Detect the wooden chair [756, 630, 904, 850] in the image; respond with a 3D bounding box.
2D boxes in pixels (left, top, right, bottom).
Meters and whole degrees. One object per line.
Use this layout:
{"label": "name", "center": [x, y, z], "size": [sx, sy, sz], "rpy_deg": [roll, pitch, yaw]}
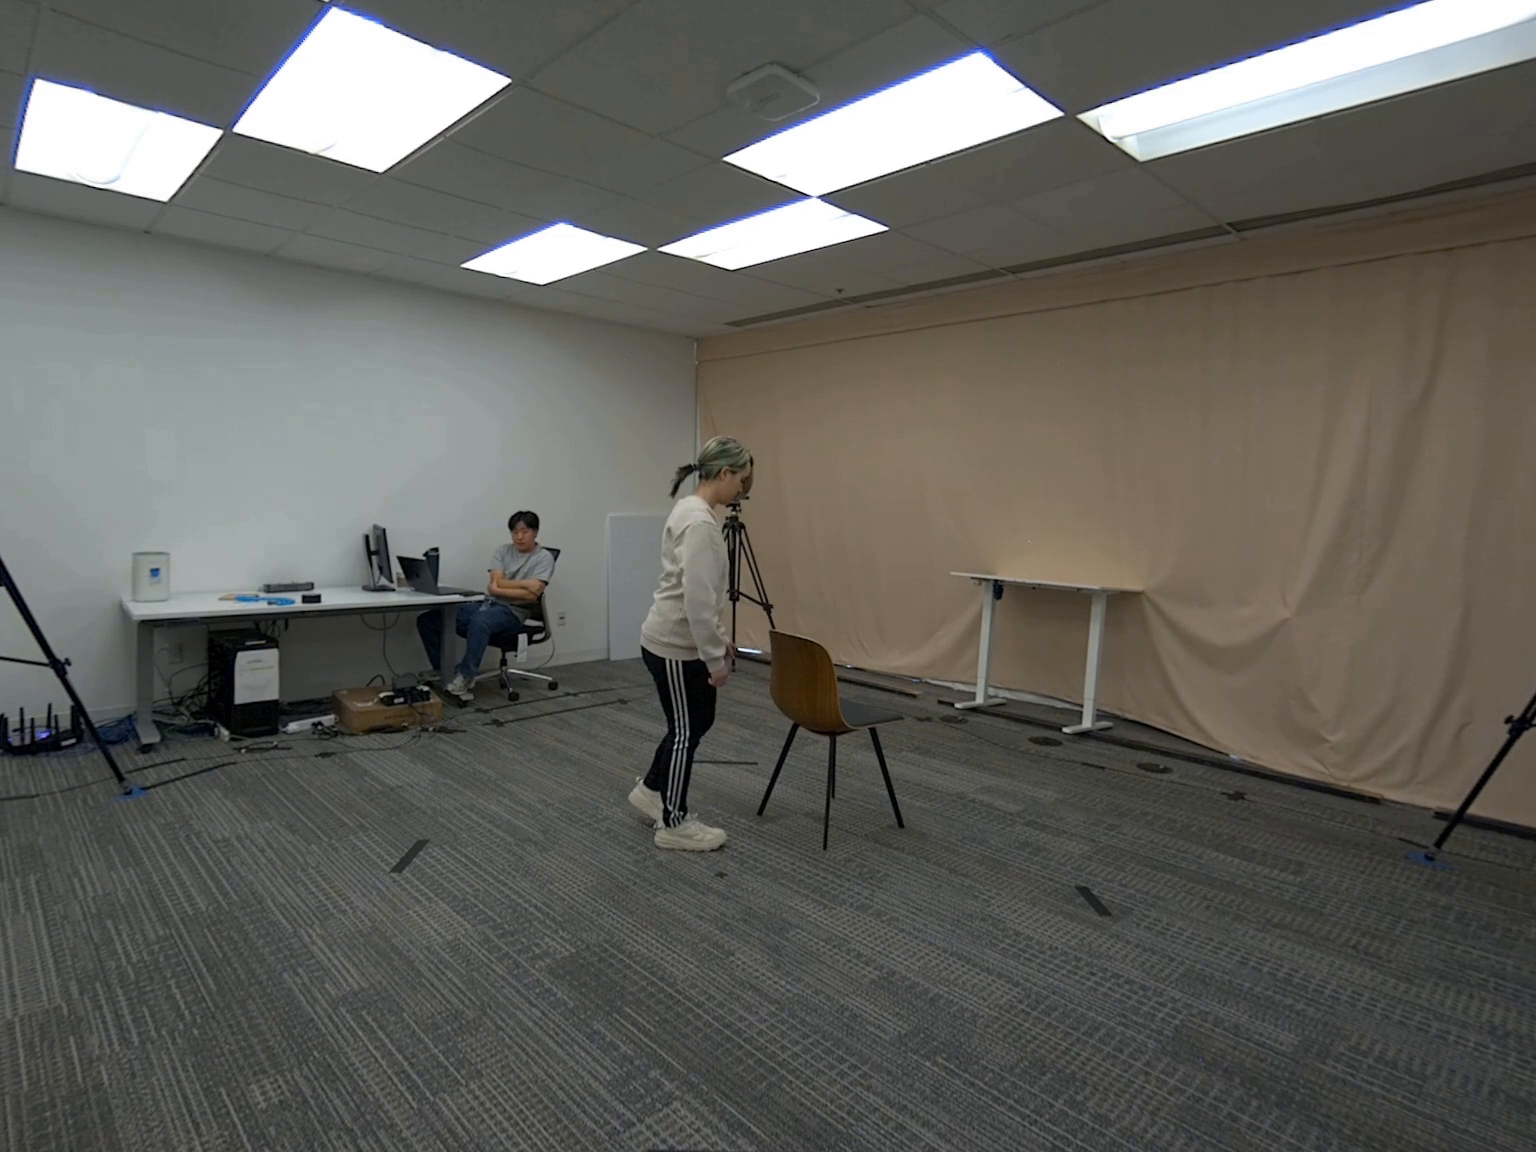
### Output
{"label": "wooden chair", "center": [0.274, 0.641, 3.631], "size": [0.512, 0.874, 0.490], "rpy_deg": [-6, 7, -36]}
